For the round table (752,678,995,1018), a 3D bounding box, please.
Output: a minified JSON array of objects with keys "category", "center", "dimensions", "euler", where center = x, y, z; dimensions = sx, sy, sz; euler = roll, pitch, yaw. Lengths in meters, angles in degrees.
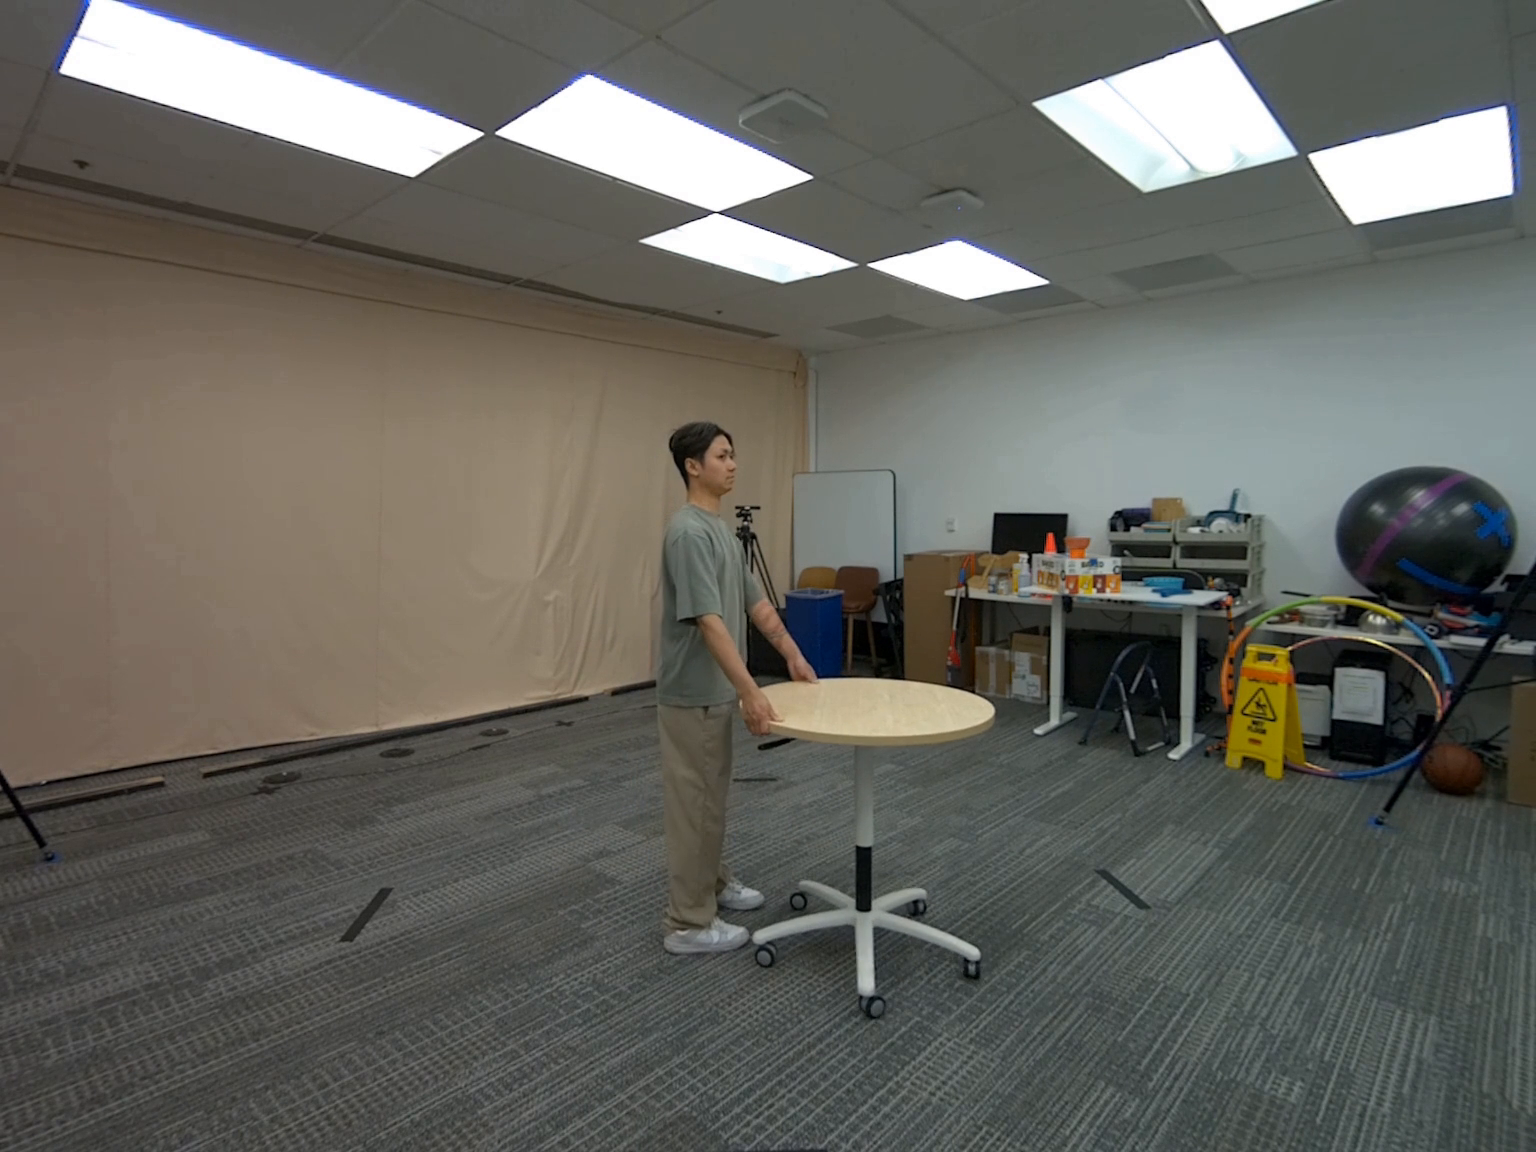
[{"category":"round table","center":[0.315,0.781,2.591],"dimensions":[0.784,0.785,0.788],"euler":[-1,4,-2]}]
